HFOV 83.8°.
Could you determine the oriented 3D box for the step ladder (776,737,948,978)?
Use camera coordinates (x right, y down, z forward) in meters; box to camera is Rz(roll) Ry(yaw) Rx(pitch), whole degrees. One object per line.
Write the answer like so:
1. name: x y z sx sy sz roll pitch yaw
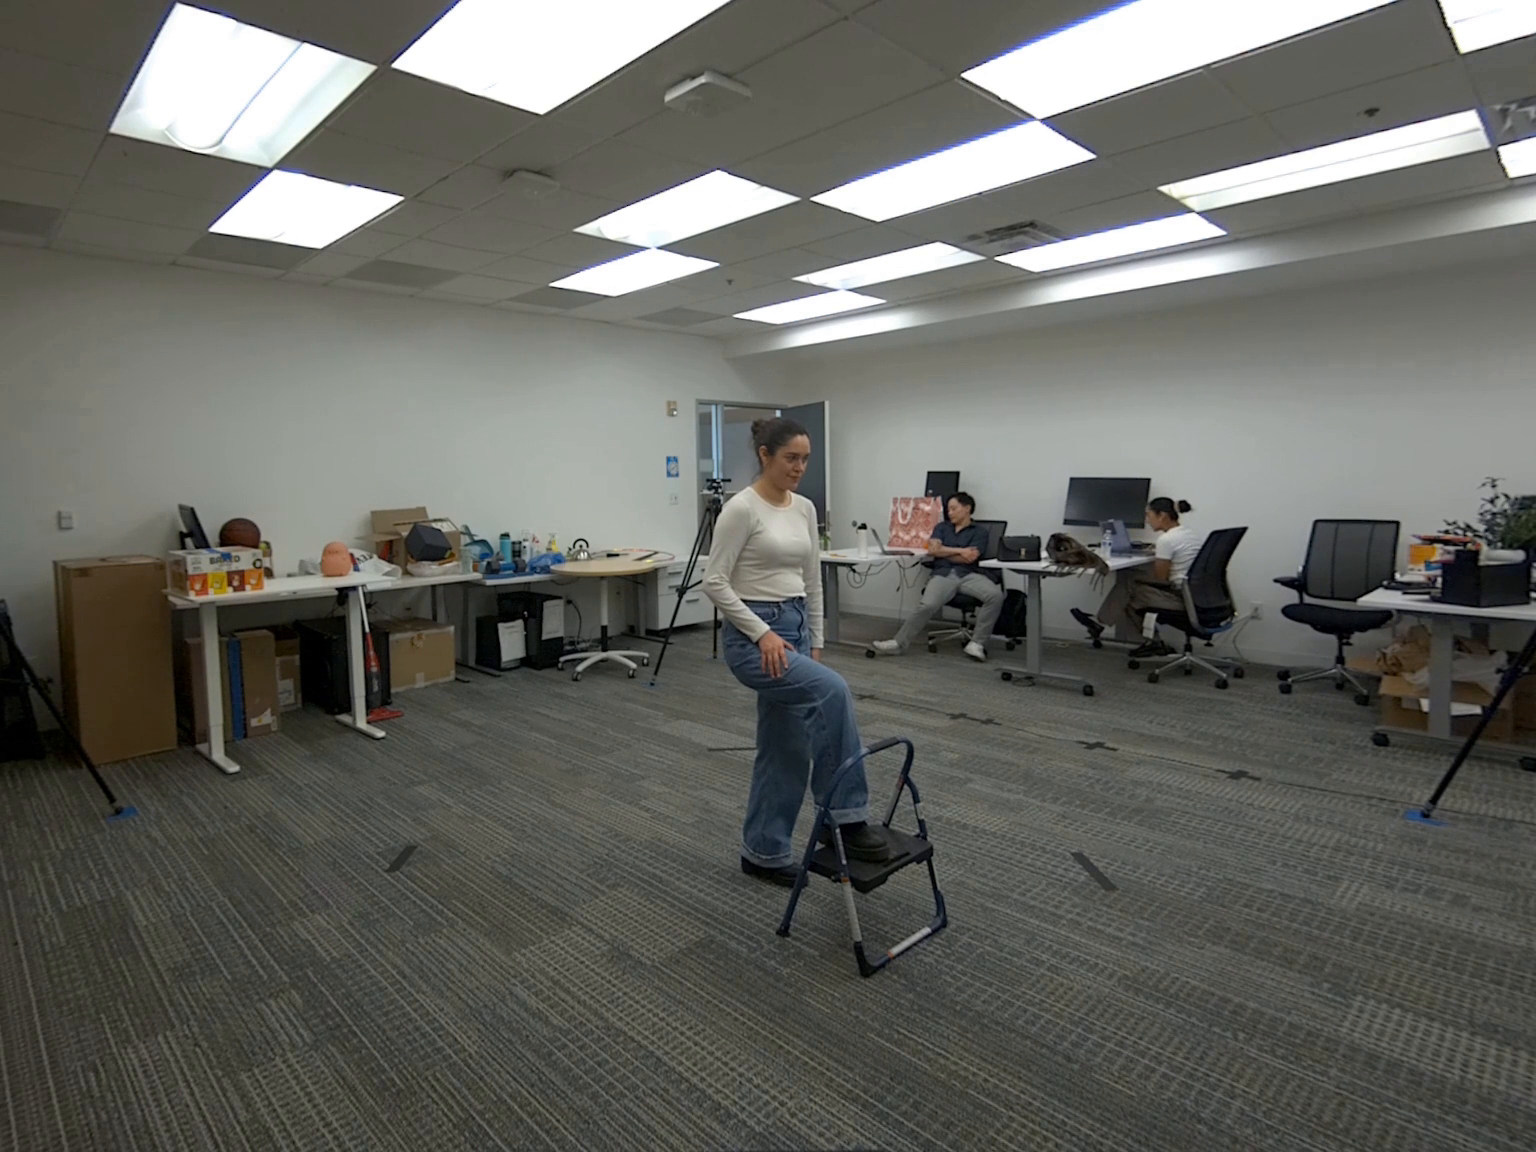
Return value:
1. step ladder: 0.294 0.793 2.622 0.360 0.603 0.419 3 7 44
